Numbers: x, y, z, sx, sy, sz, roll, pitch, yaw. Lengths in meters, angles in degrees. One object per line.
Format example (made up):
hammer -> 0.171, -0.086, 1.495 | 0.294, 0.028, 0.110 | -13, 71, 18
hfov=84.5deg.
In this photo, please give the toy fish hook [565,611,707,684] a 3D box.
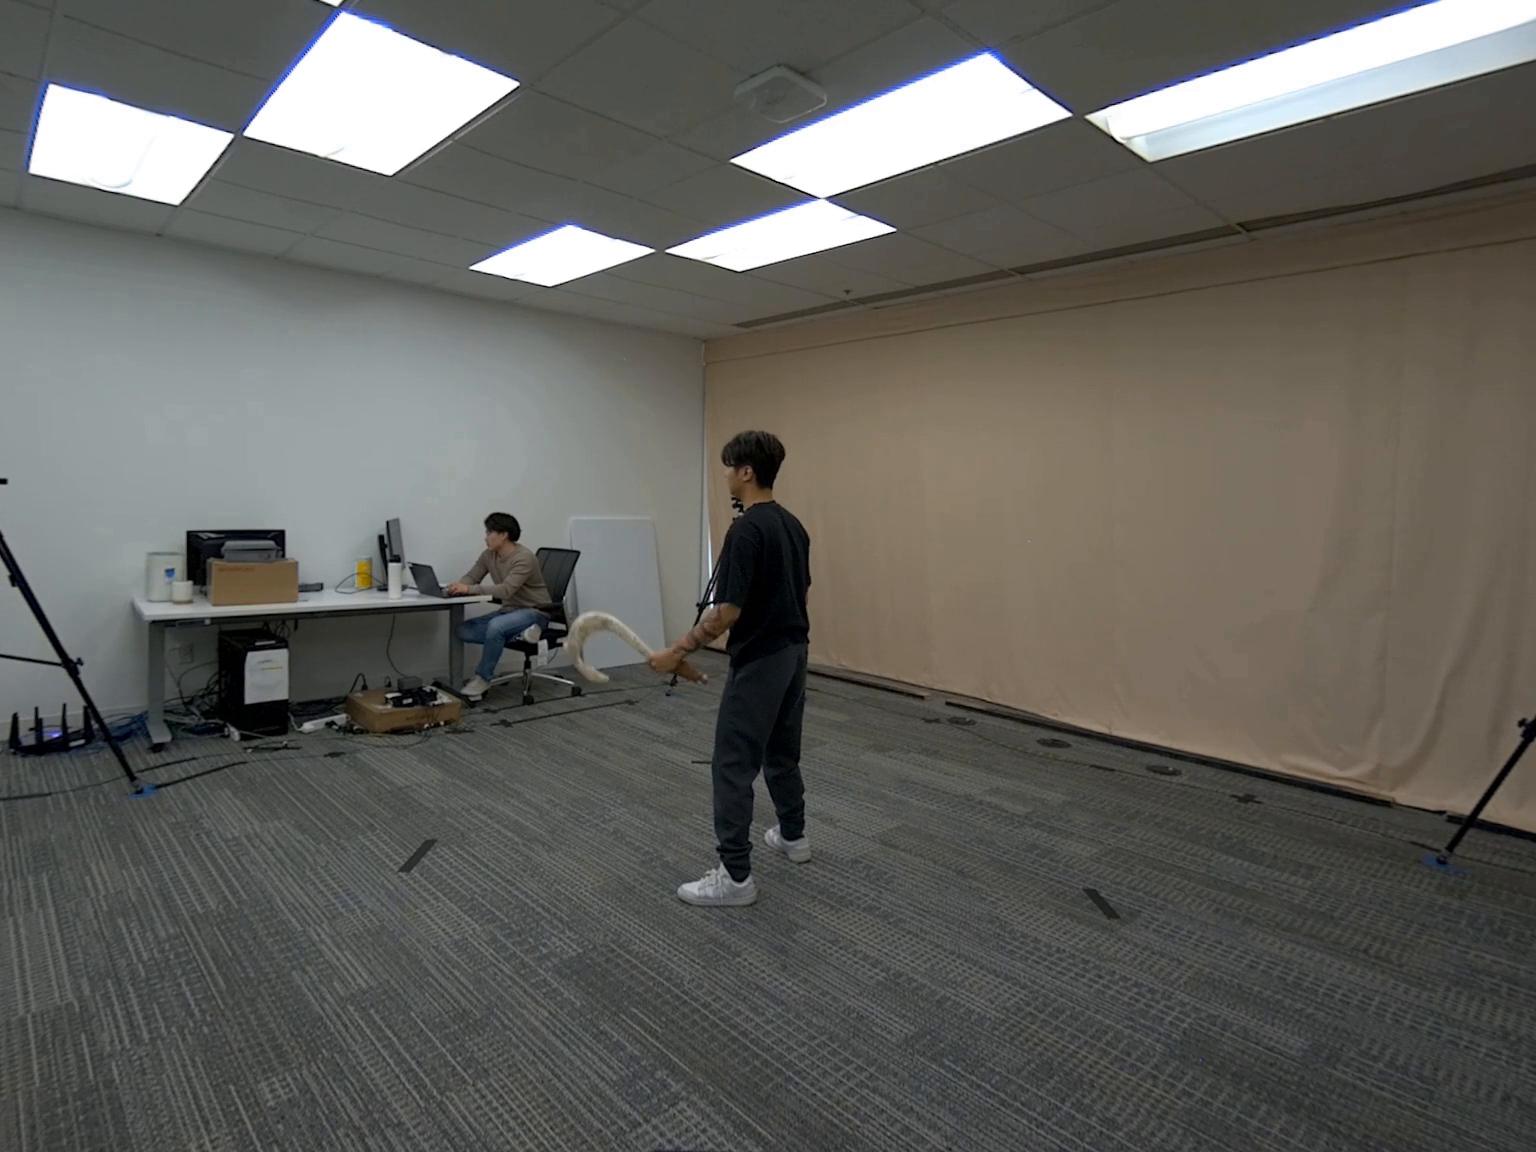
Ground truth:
toy fish hook -> -0.445, 0.282, 2.901 | 0.508, 0.225, 0.048 | 25, -3, 2
